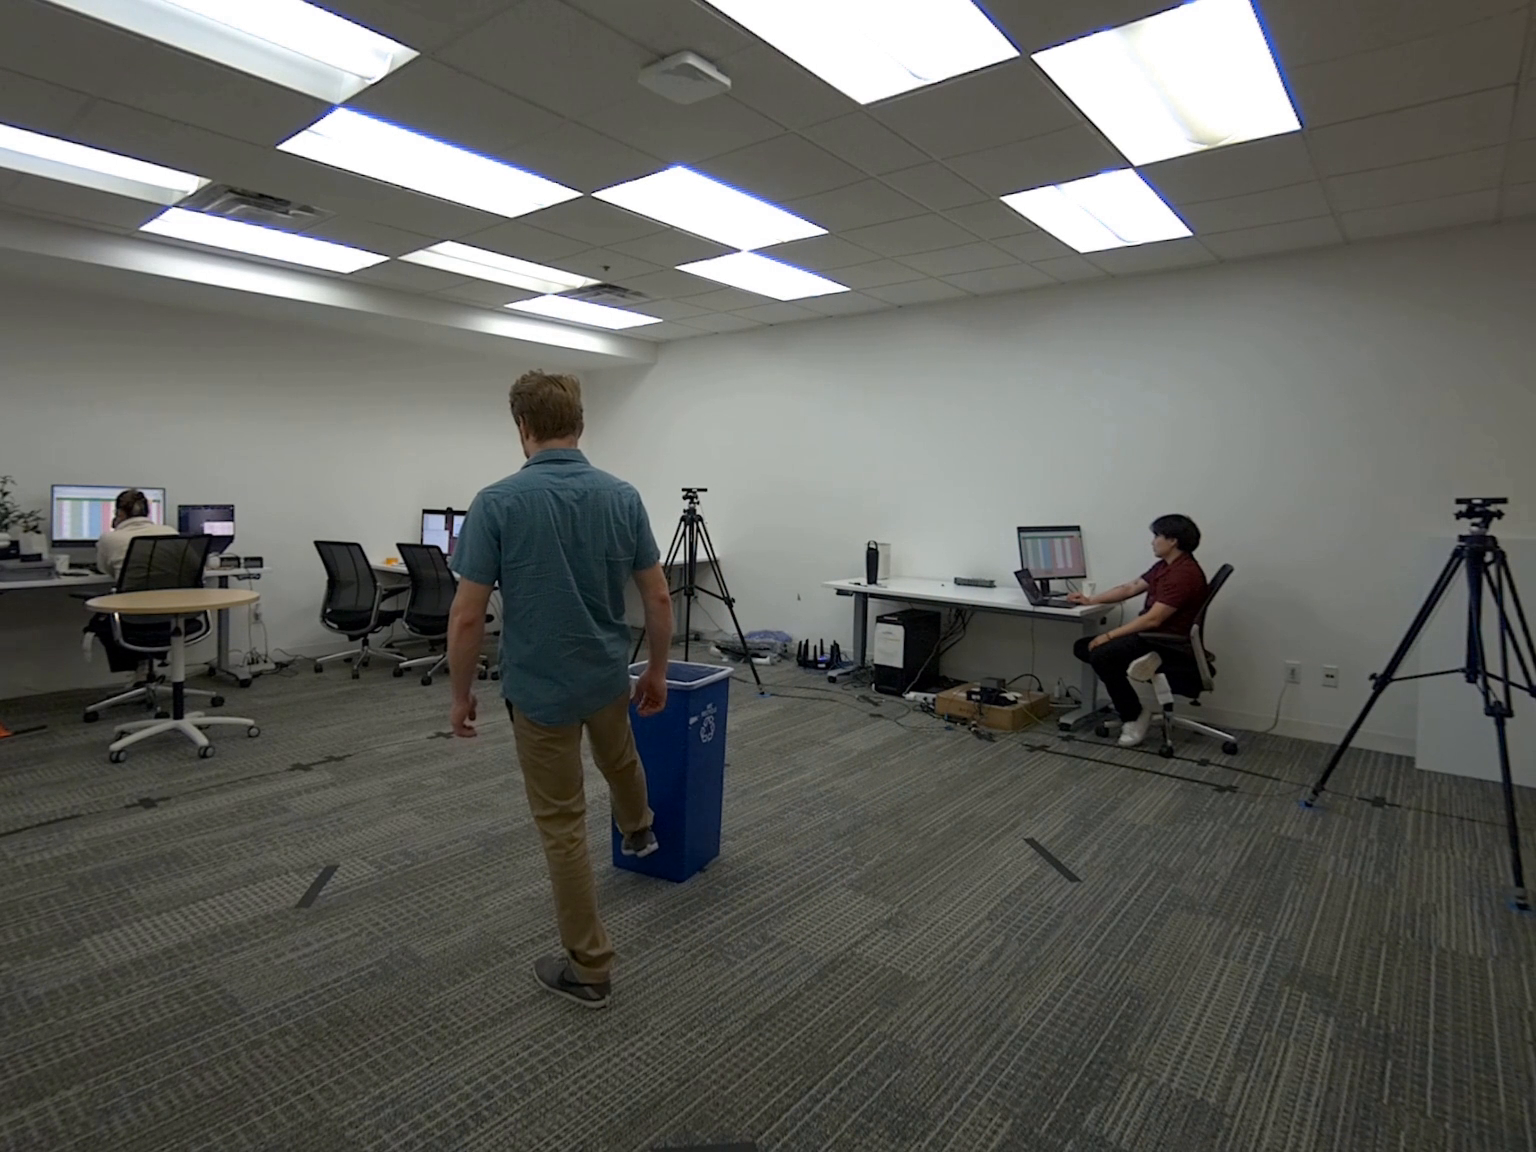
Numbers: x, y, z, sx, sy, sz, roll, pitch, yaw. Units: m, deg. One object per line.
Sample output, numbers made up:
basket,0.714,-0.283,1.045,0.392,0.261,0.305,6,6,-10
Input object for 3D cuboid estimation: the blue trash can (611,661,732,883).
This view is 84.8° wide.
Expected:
blue trash can,-0.378,0.704,3.176,0.388,0.712,0.365,3,3,25
